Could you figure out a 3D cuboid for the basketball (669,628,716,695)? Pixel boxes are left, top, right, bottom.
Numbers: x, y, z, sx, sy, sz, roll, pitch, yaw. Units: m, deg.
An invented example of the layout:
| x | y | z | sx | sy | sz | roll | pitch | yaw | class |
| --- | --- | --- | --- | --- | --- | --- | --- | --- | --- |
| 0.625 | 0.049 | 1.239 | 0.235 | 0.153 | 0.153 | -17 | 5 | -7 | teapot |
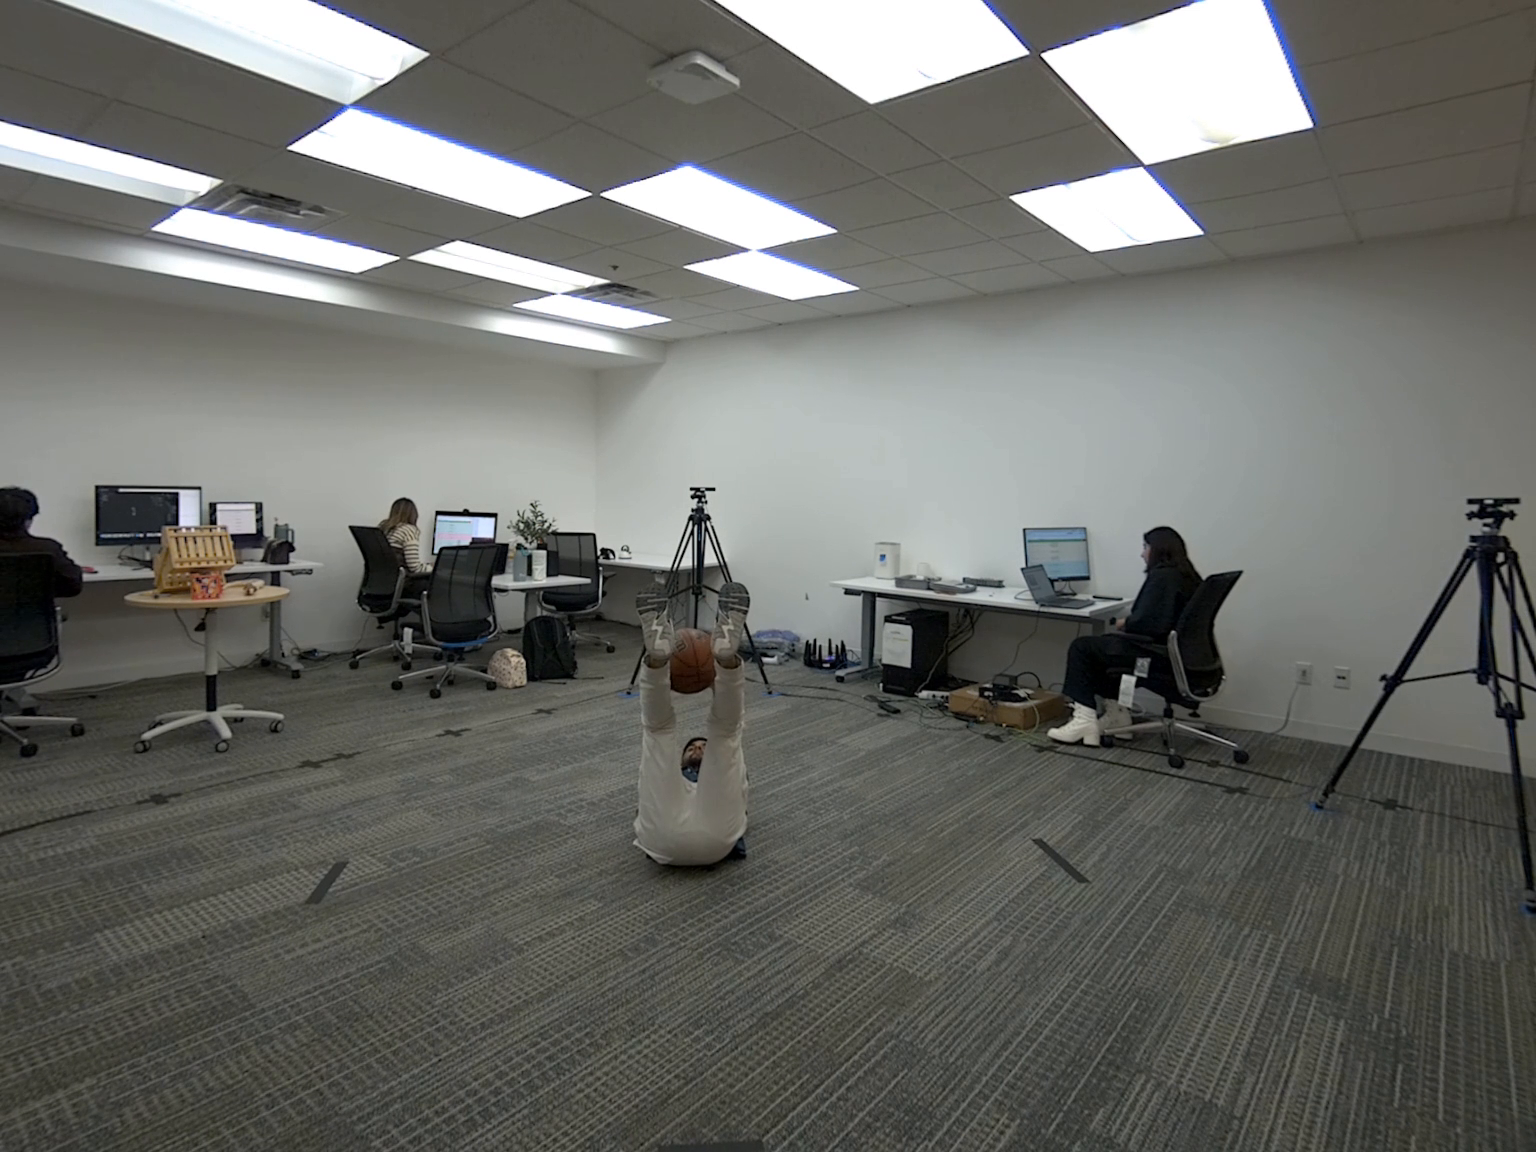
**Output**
| x | y | z | sx | sy | sz | roll | pitch | yaw | class |
| --- | --- | --- | --- | --- | --- | --- | --- | --- | --- |
| -0.296 | 0.298 | 3.131 | 0.235 | 0.235 | 0.237 | 1 | 4 | -2 | basketball |
